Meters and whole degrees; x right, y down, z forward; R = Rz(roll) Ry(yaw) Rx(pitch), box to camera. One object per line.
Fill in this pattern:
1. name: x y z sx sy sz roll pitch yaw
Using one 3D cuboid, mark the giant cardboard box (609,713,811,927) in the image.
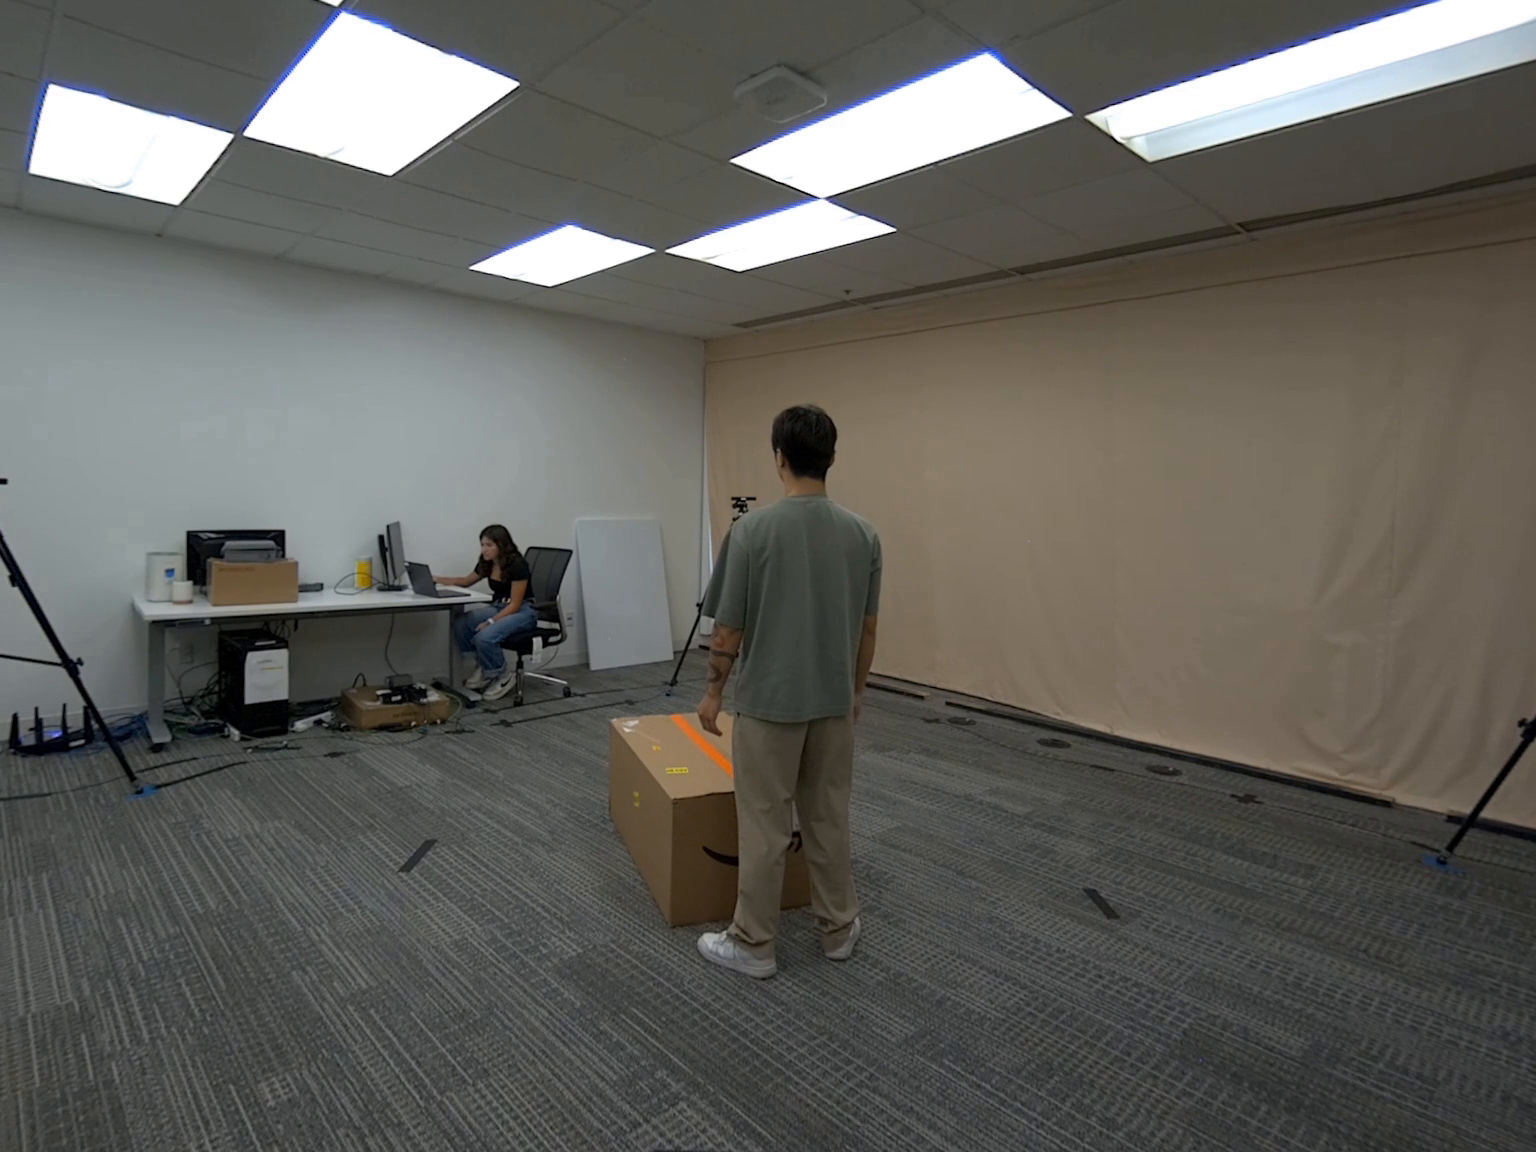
1. giant cardboard box: -0.247 0.875 3.282 0.568 0.425 1.045 1 5 -21
